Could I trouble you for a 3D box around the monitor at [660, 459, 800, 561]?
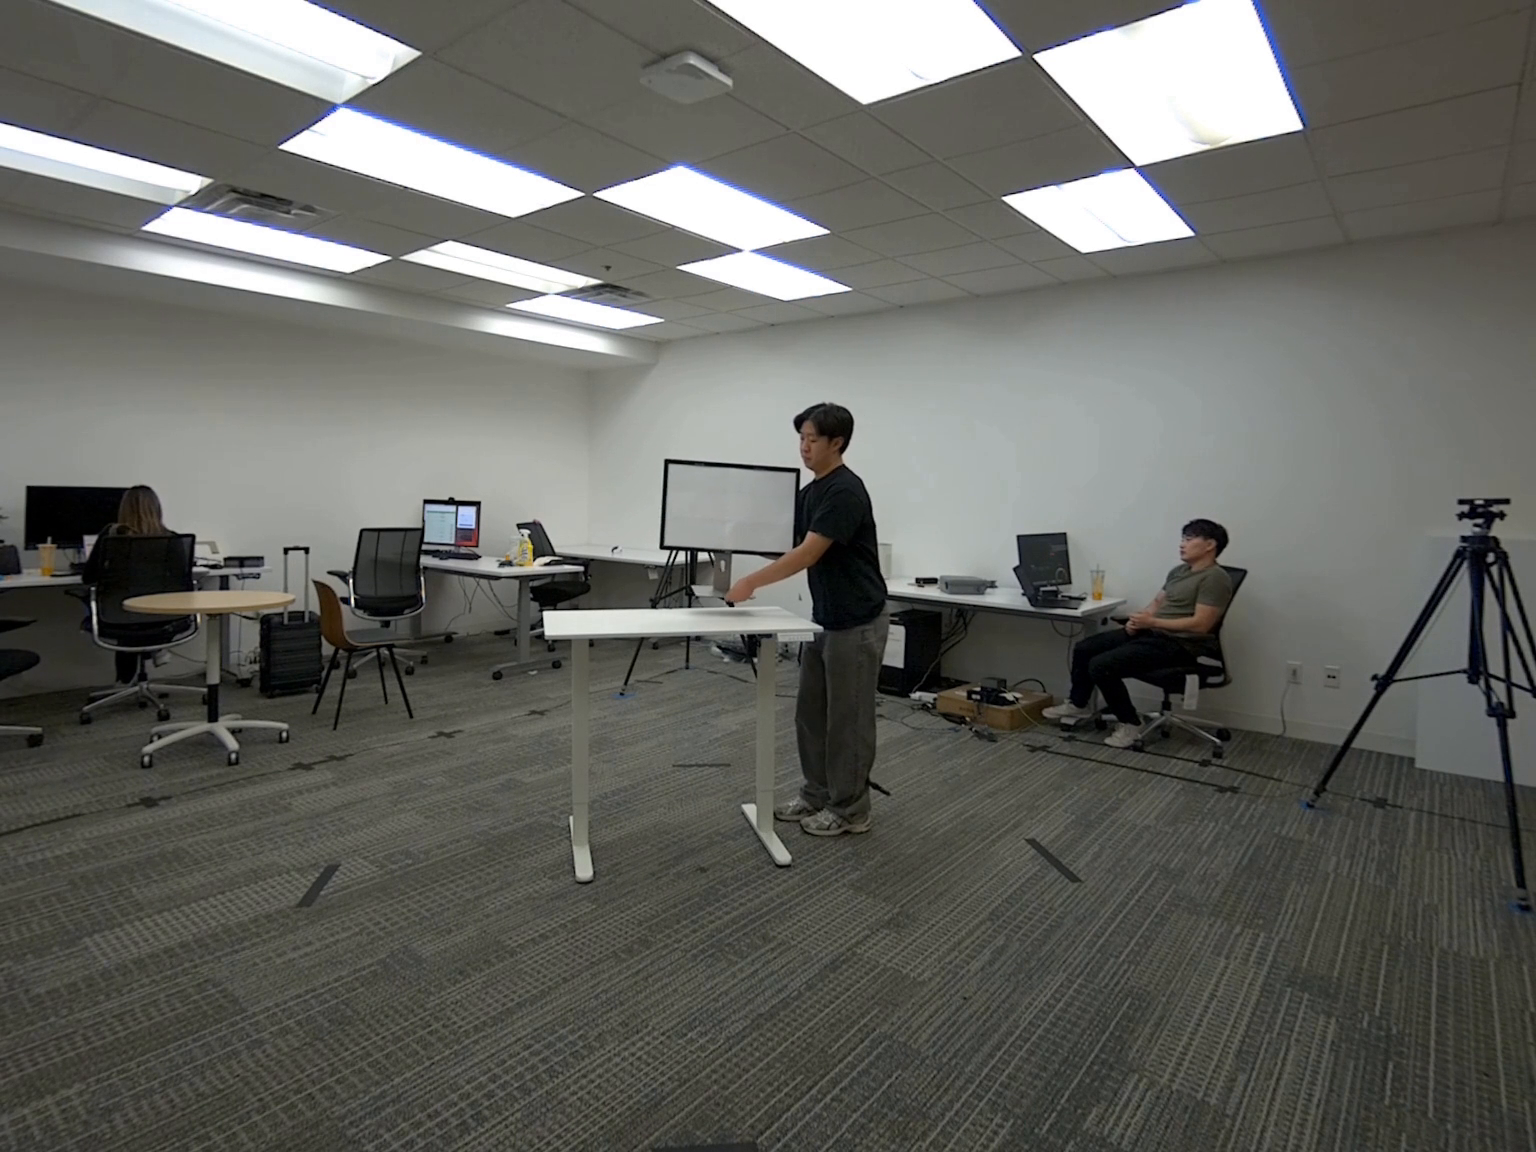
[{"bbox_3d":[-0.175,-0.185,3.482,0.558,0.560,0.226,3,13,-7],"label":"monitor"}]
